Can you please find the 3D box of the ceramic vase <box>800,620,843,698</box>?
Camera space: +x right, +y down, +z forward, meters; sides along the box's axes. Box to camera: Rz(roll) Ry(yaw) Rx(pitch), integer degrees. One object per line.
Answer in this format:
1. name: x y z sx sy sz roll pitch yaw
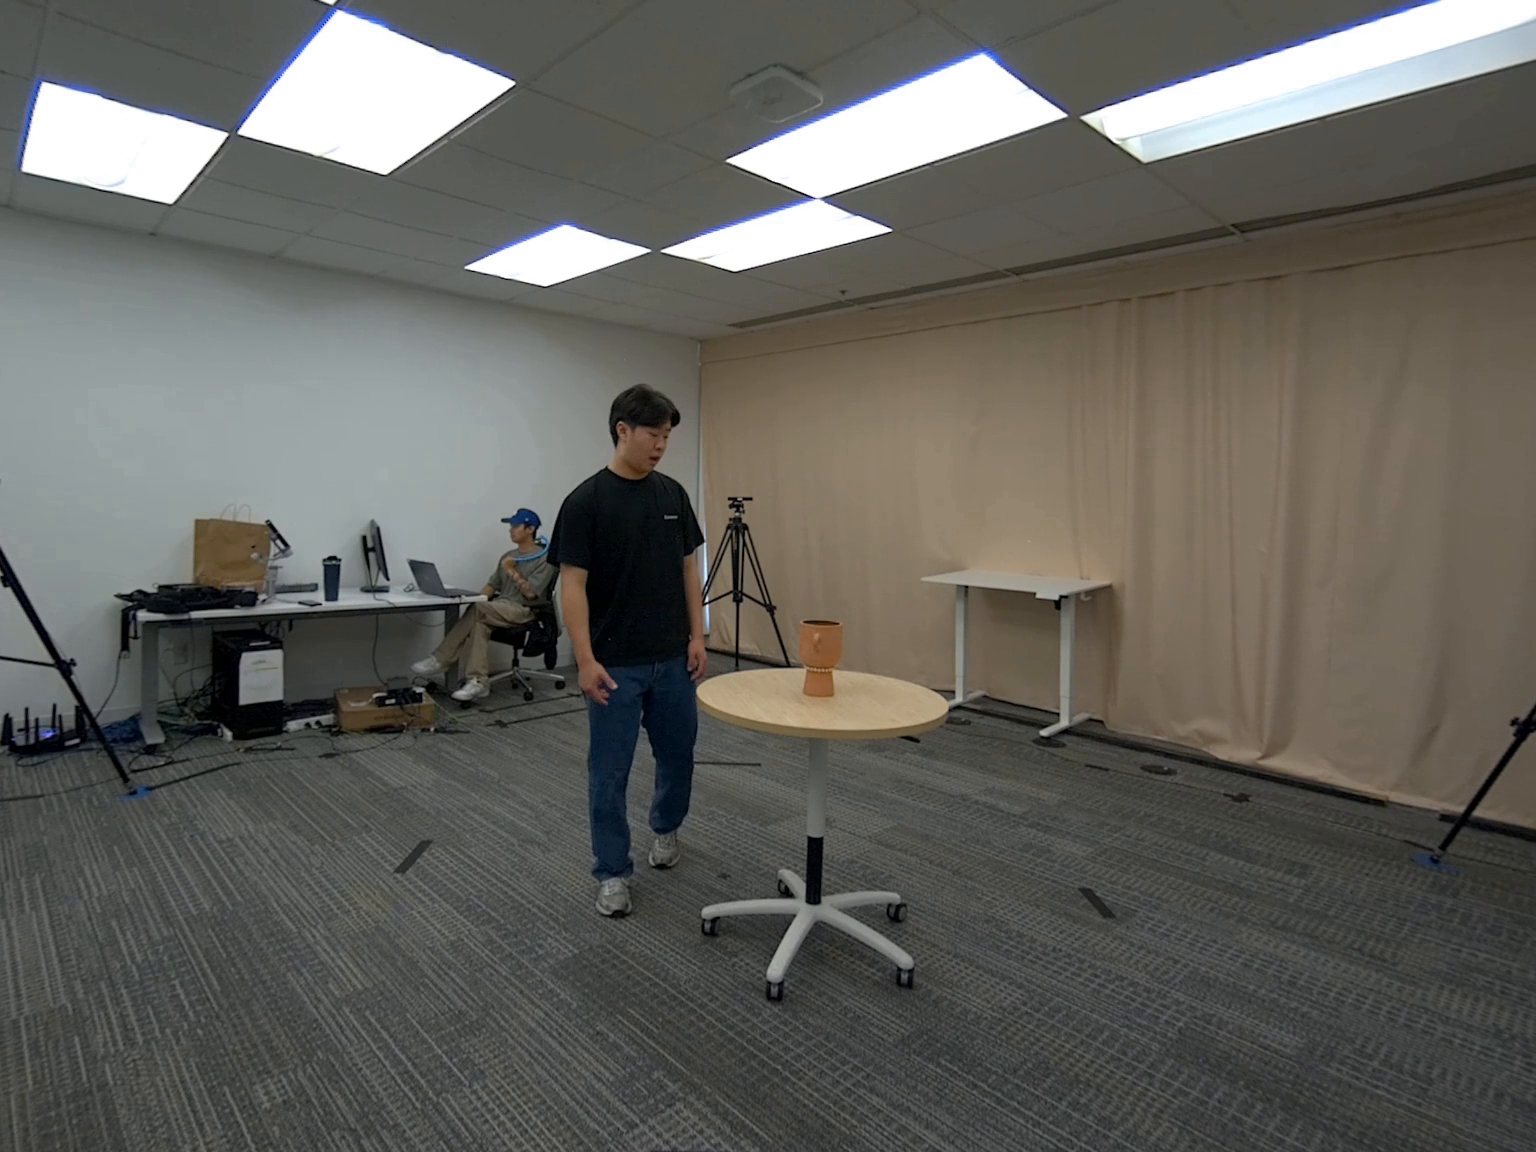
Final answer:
1. ceramic vase: 0.151 0.255 2.590 0.155 0.219 0.138 -2 7 -37
